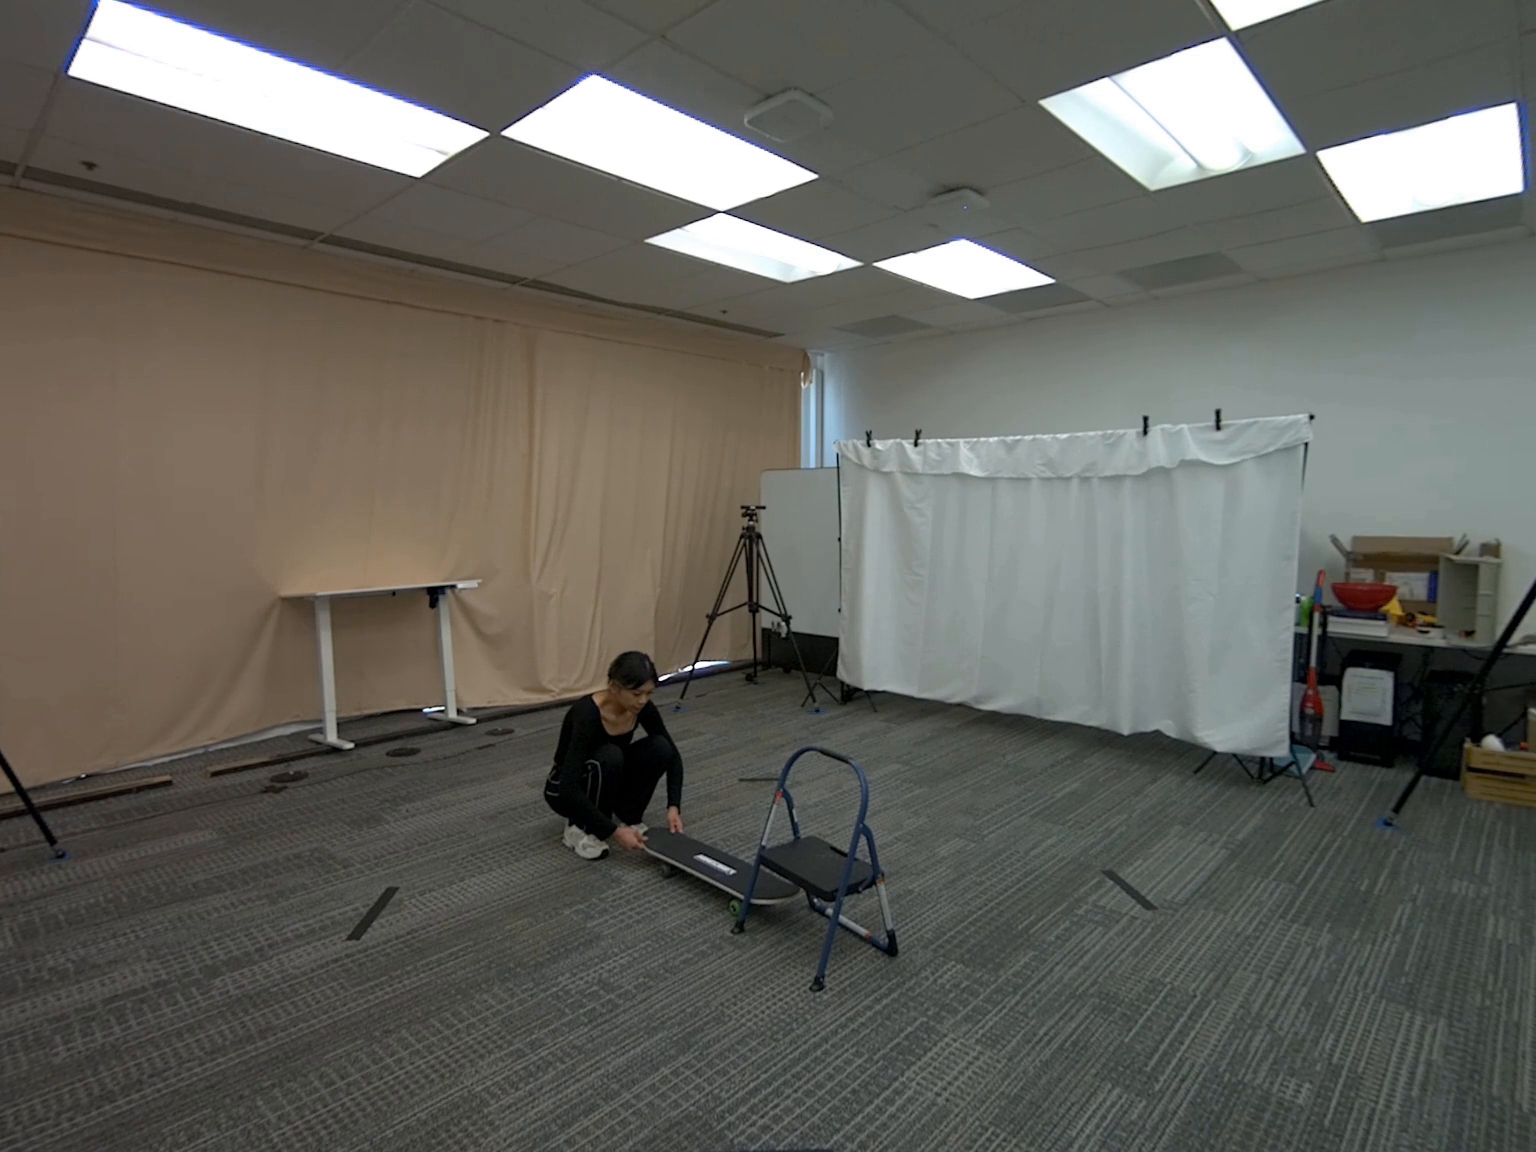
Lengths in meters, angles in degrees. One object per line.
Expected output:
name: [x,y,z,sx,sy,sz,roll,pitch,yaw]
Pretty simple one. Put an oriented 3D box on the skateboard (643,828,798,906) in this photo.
skateboard: [-0.185,1.082,3.065,0.187,0.110,0.812,-4,6,-43]
